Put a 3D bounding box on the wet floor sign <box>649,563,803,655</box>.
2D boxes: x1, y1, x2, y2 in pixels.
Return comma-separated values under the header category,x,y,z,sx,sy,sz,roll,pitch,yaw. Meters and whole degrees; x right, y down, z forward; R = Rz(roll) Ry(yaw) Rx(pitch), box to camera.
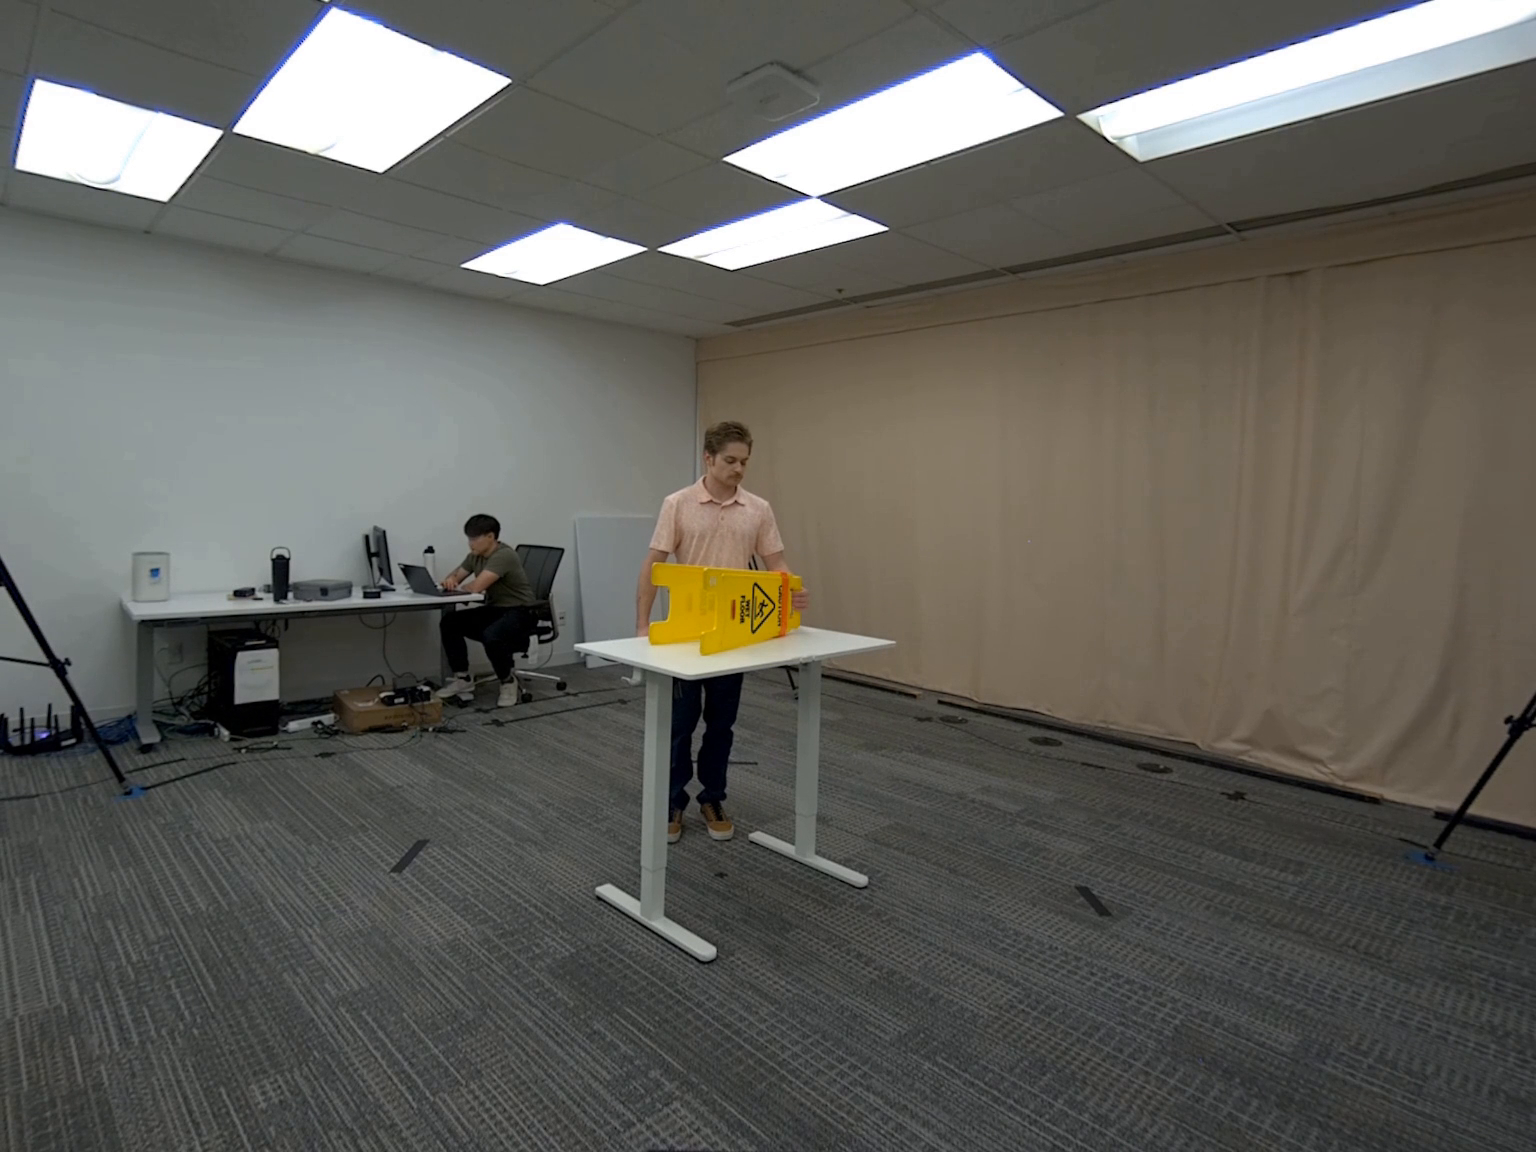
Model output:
category,x,y,z,sx,sy,sz,roll,pitch,yaw
wet floor sign,-0.100,0.107,2.993,0.297,0.282,0.631,5,4,43
